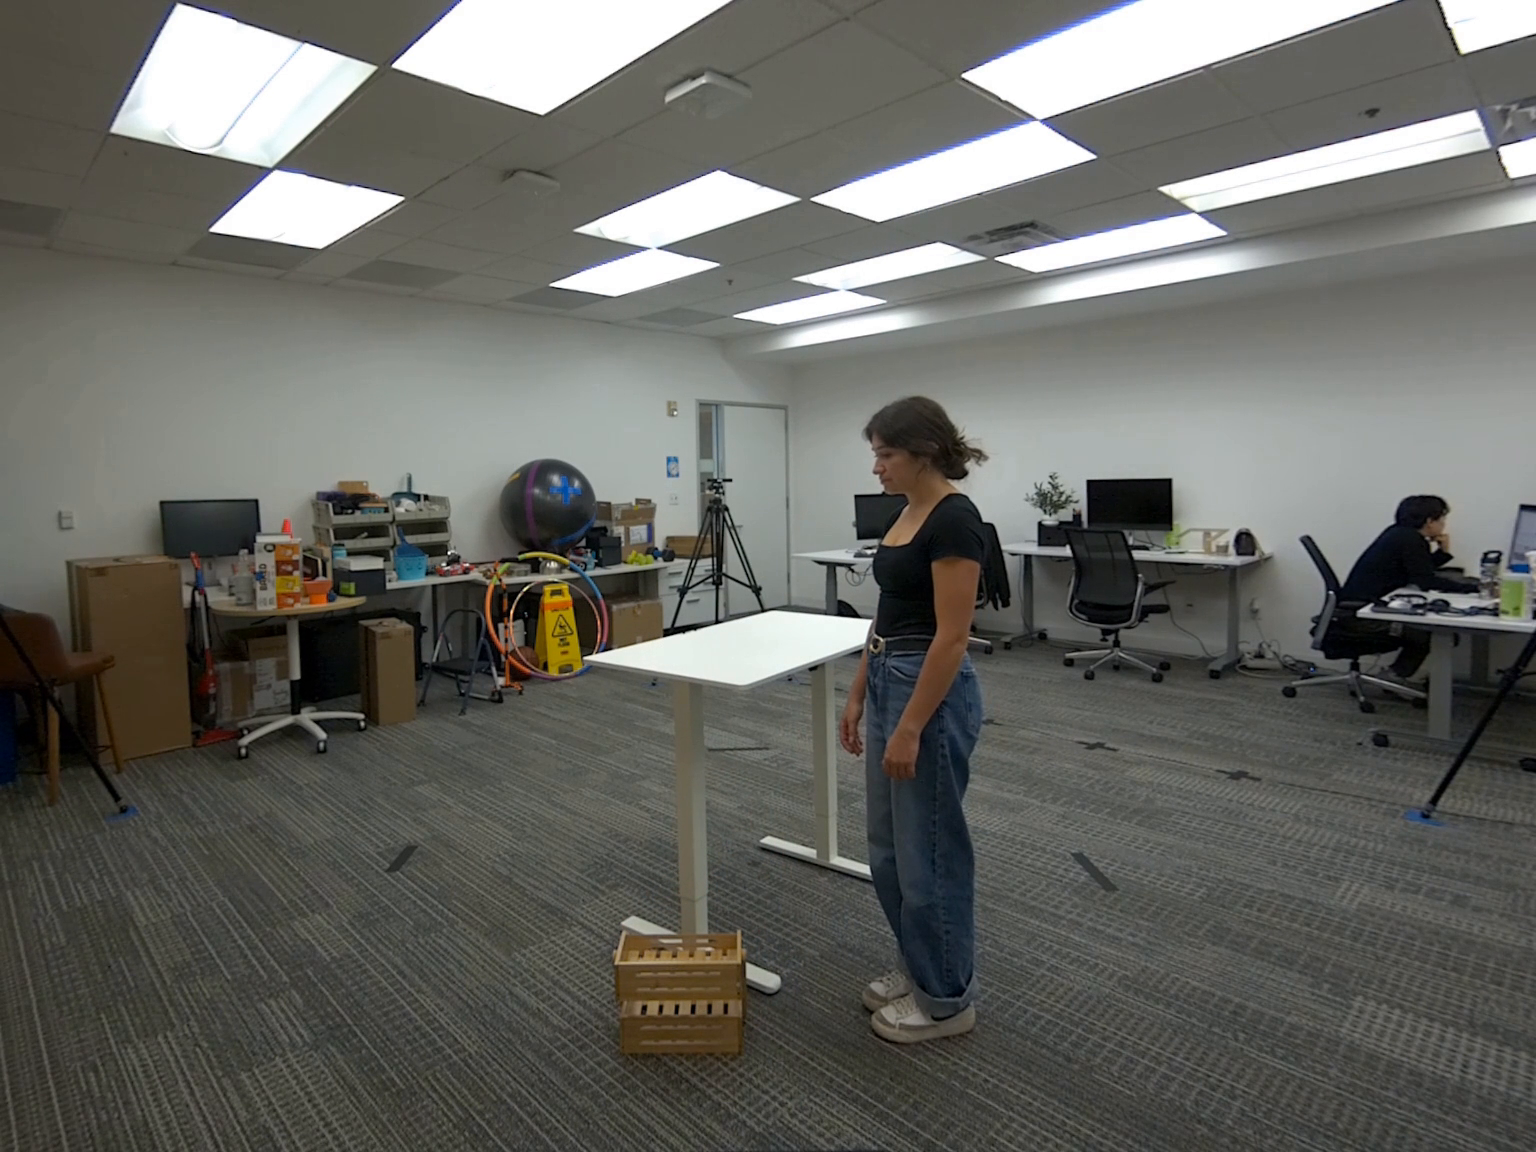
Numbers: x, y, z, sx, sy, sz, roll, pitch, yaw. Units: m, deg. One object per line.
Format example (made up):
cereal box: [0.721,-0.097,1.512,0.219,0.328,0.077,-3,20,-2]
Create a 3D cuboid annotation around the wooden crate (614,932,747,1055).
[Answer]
wooden crate: [-0.205,1.015,2.194,0.324,0.272,0.304,-1,6,-1]
